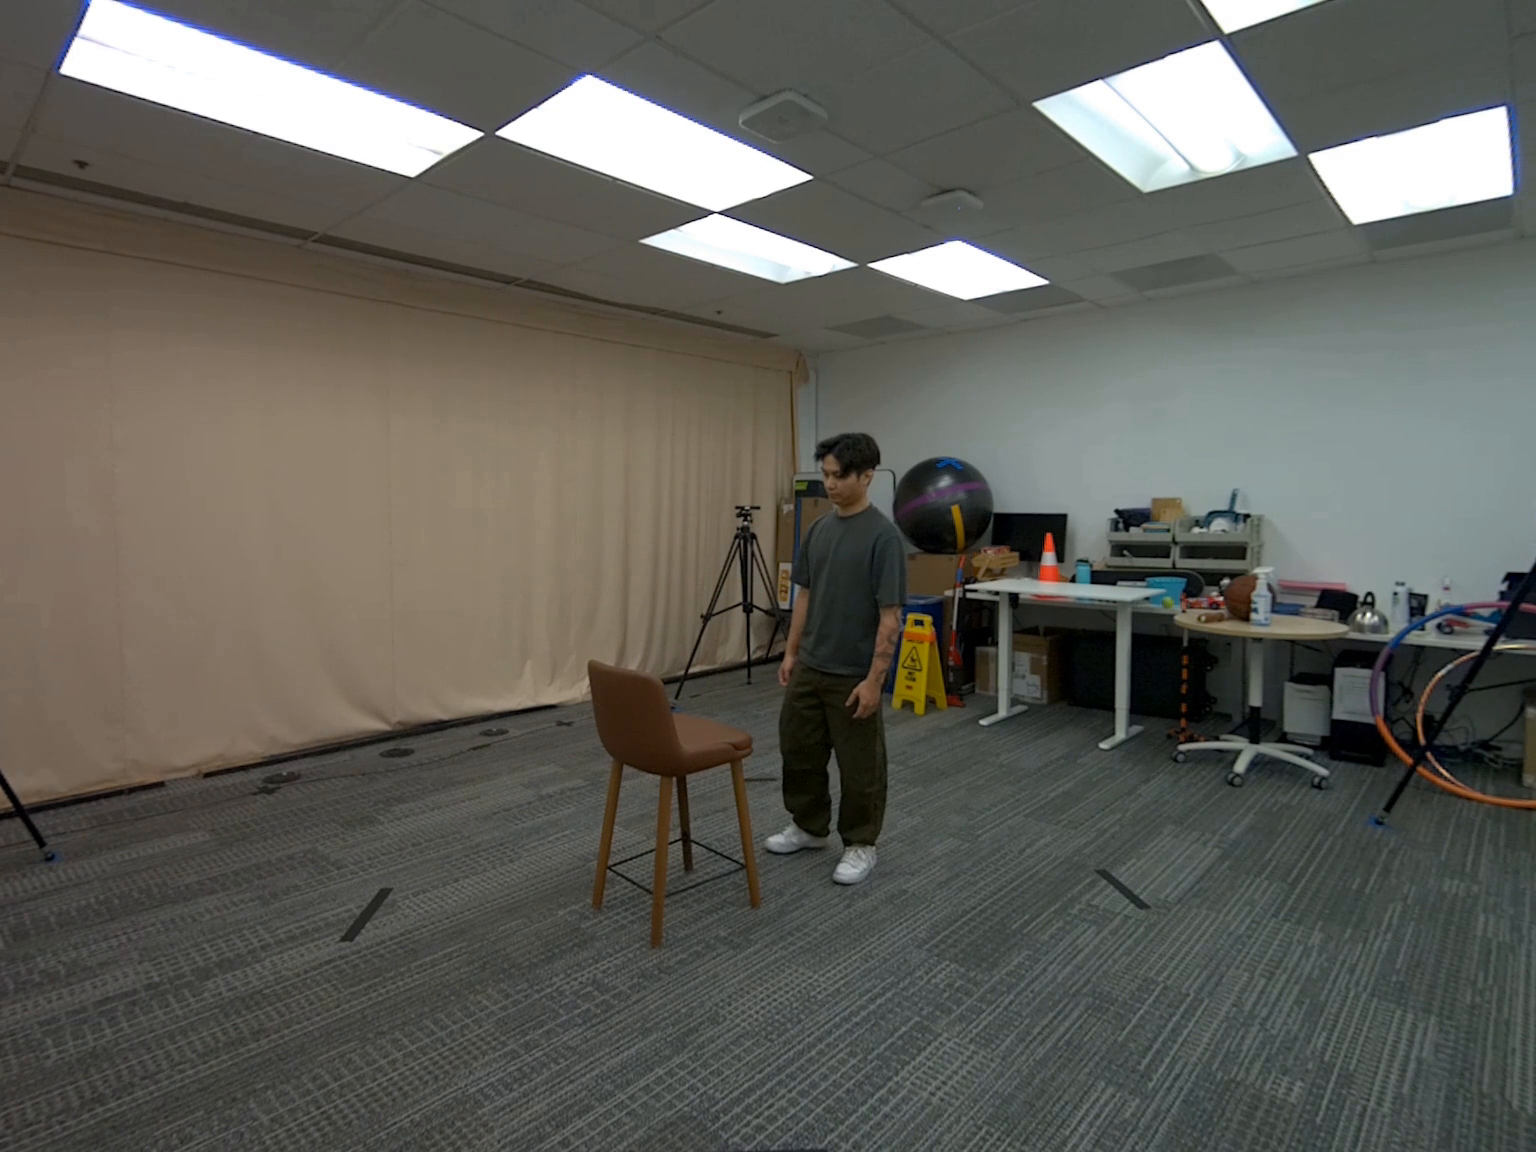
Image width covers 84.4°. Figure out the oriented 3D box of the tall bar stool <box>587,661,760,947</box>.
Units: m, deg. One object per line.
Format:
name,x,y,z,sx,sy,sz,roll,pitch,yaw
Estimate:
tall bar stool,-0.319,0.713,2.910,0.454,0.887,0.472,-5,6,-41
